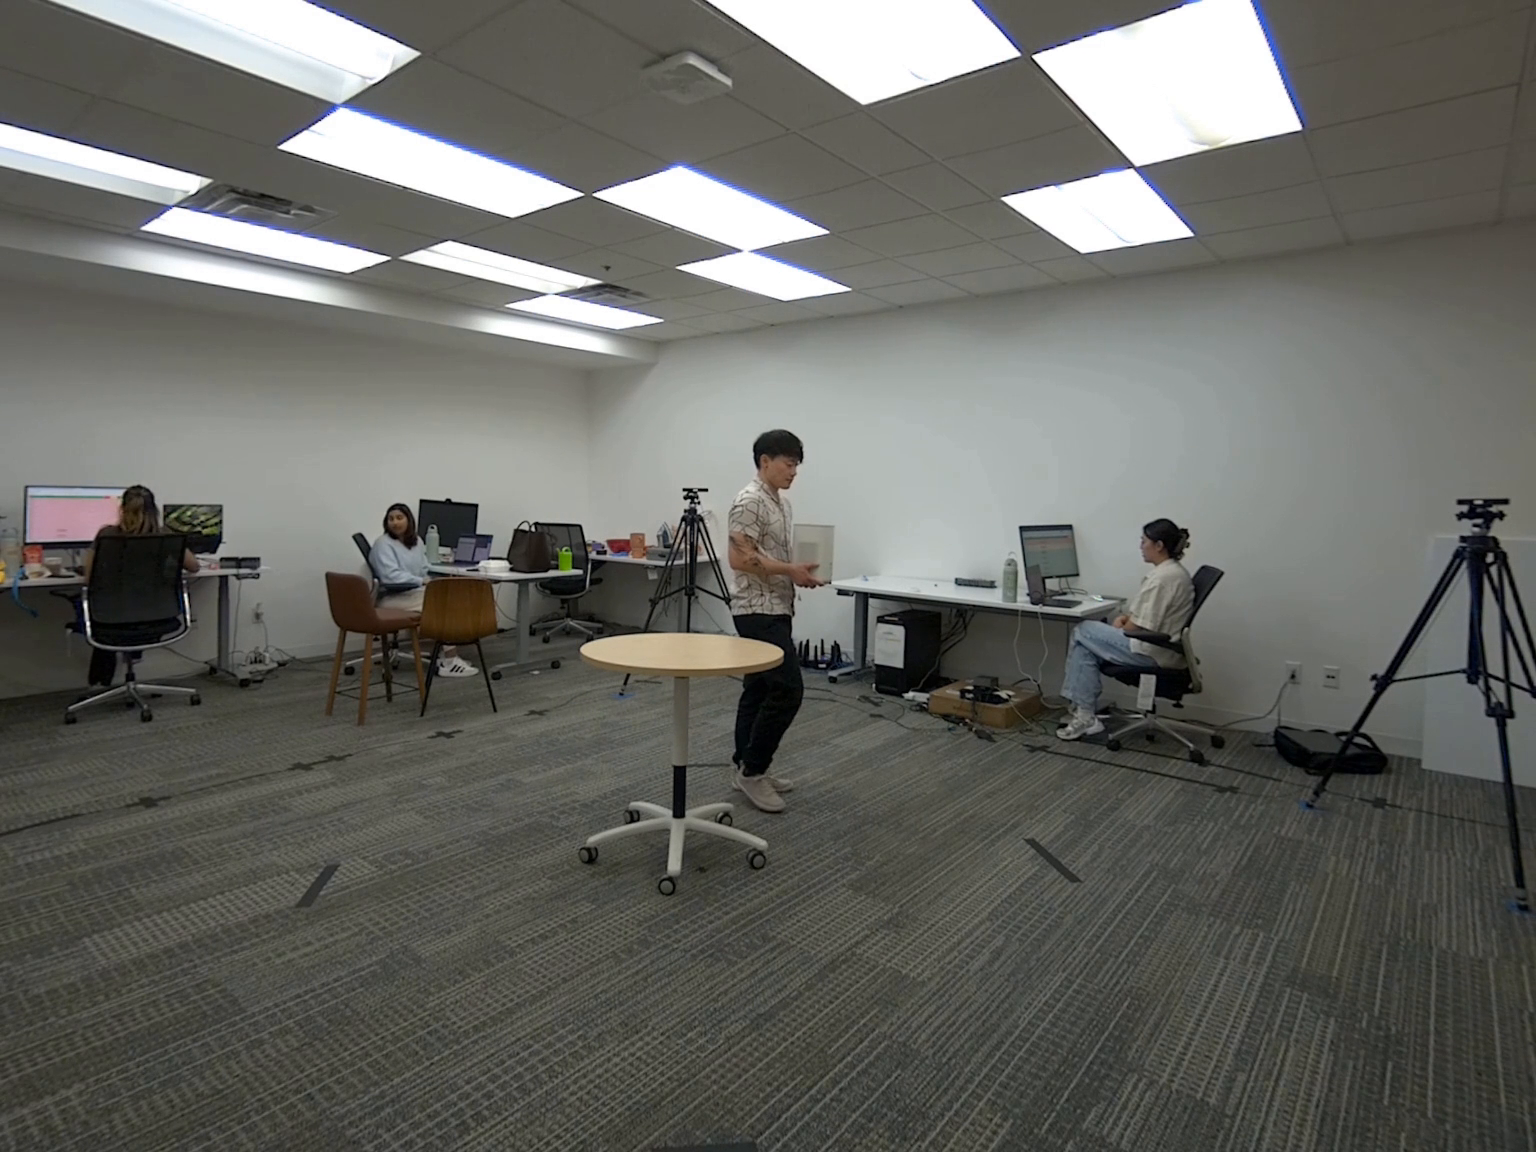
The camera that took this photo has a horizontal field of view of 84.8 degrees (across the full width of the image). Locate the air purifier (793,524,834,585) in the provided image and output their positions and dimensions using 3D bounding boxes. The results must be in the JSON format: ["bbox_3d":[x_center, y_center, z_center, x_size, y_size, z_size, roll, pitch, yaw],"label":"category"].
[{"bbox_3d":[0.189,-0.099,3.806,0.174,0.265,0.168,3,1,13],"label":"air purifier"}]
